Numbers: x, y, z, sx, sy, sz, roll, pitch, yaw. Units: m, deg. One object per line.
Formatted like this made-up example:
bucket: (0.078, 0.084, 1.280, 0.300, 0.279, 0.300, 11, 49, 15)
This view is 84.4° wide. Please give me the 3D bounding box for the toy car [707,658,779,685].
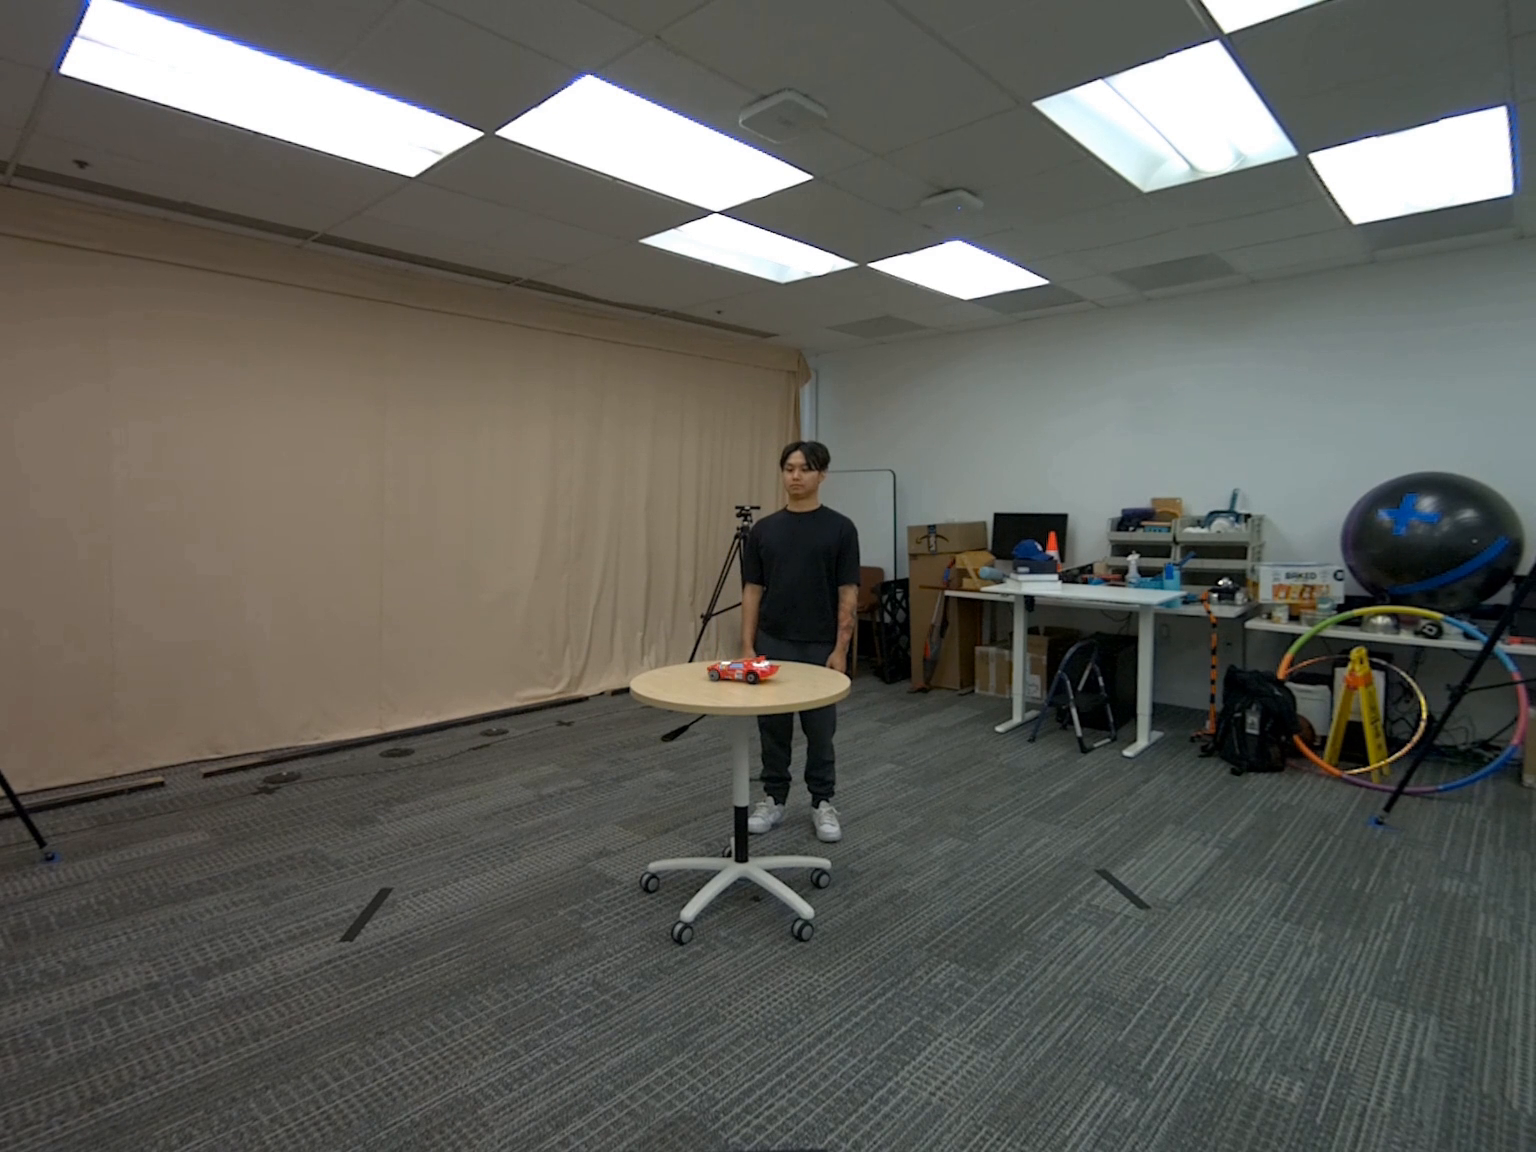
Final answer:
toy car: (-0.084, 0.336, 2.929, 0.260, 0.083, 0.127, -9, 0, 25)
